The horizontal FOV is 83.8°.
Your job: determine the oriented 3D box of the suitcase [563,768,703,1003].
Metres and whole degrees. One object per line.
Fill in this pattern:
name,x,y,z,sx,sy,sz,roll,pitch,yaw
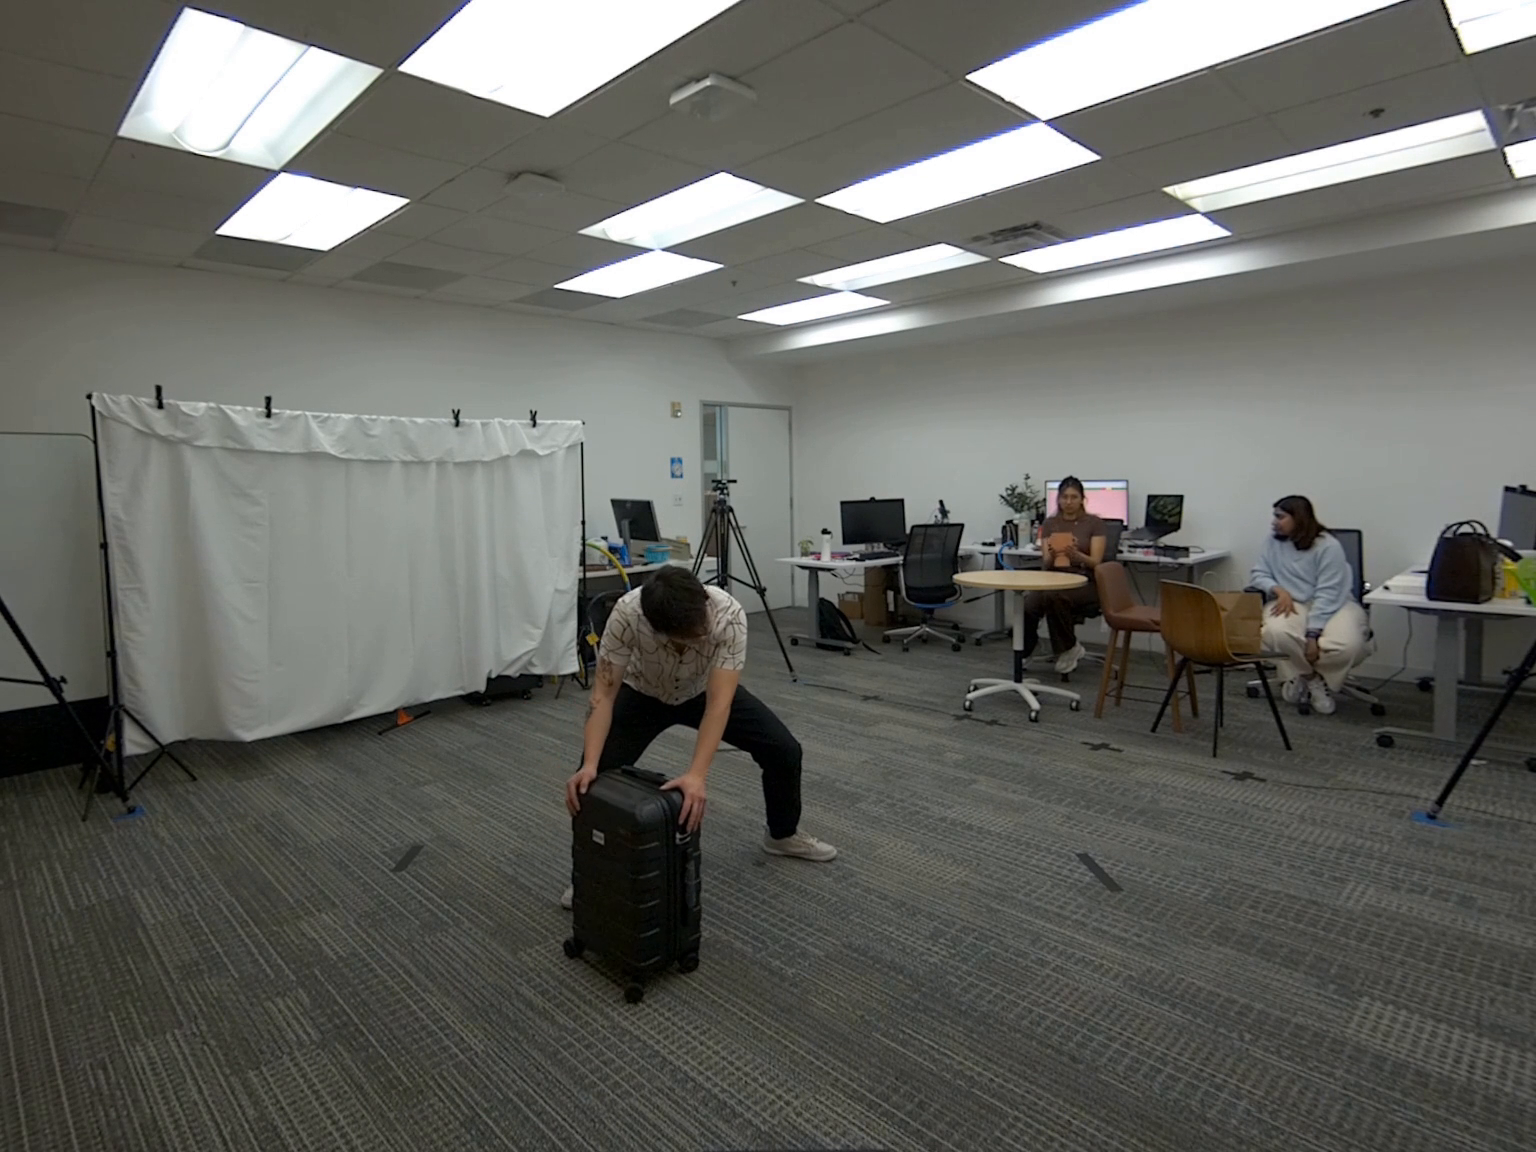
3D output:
suitcase,-0.380,0.859,2.470,0.387,0.548,0.241,4,5,43
